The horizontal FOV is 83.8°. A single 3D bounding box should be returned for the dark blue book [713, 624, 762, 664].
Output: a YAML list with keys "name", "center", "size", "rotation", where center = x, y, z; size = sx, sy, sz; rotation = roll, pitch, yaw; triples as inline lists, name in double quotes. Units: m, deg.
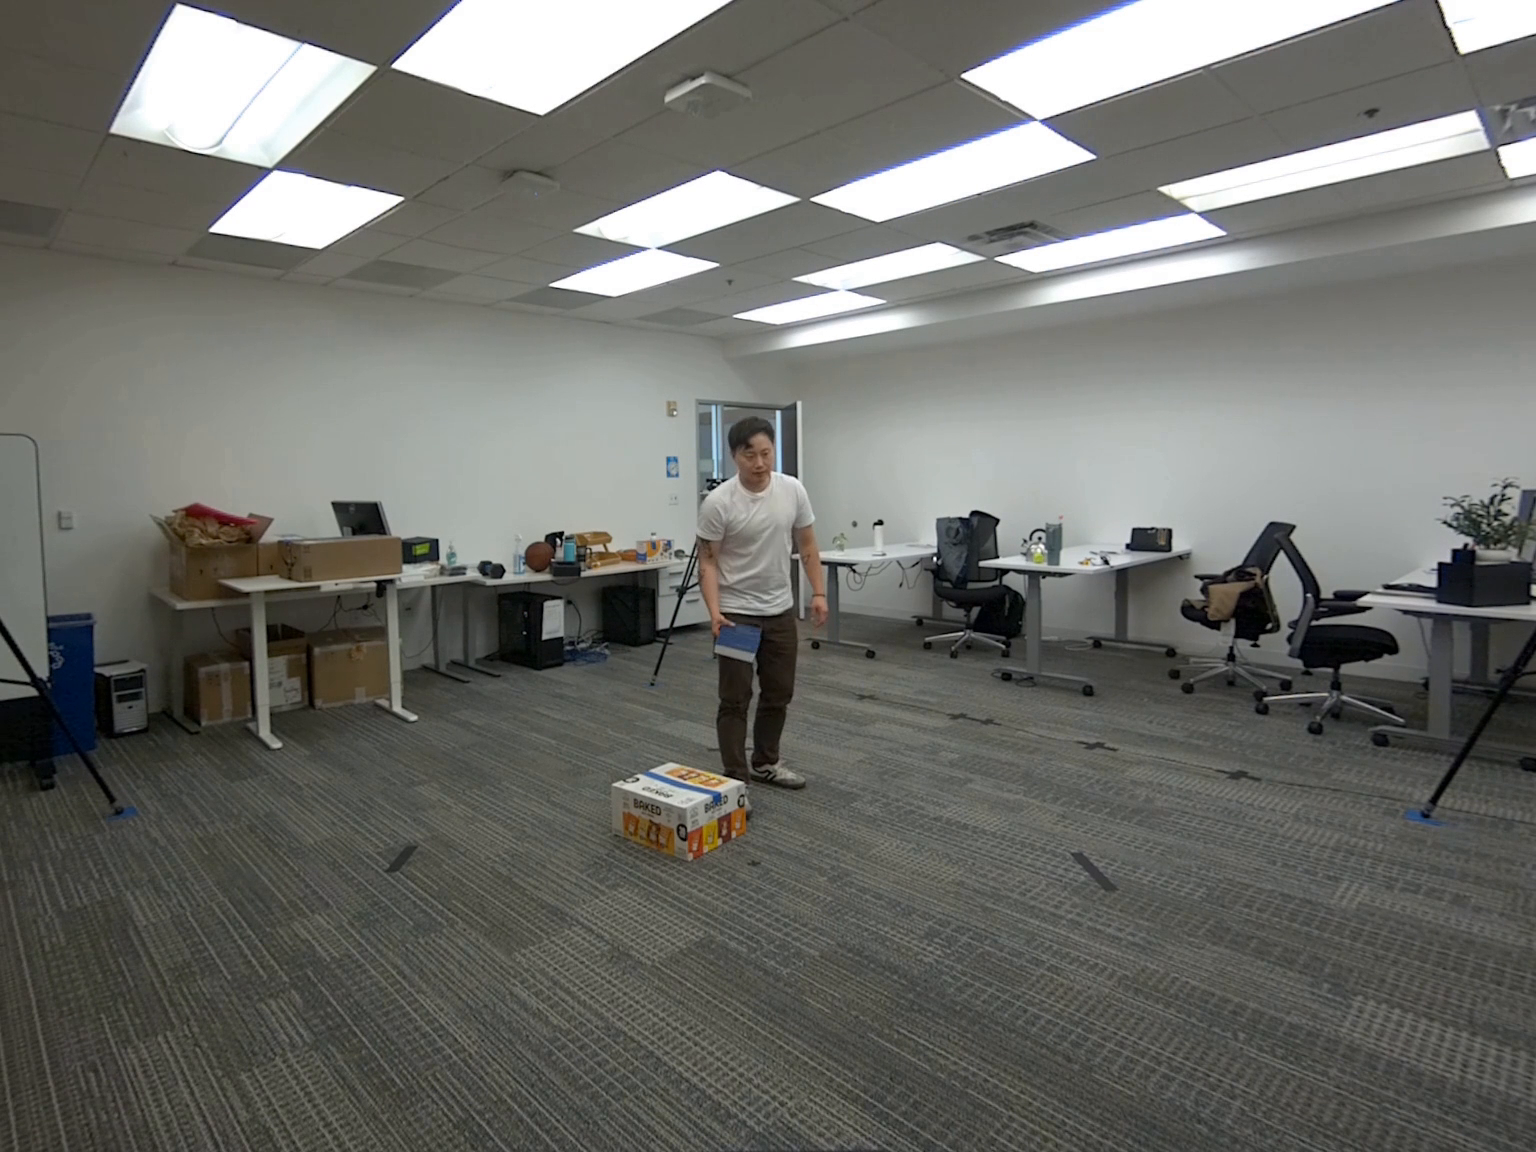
- name: "dark blue book"
  center: [-0.115, 0.266, 3.409]
  size: [0.165, 0.044, 0.246]
  rotation: [12, 19, 5]
